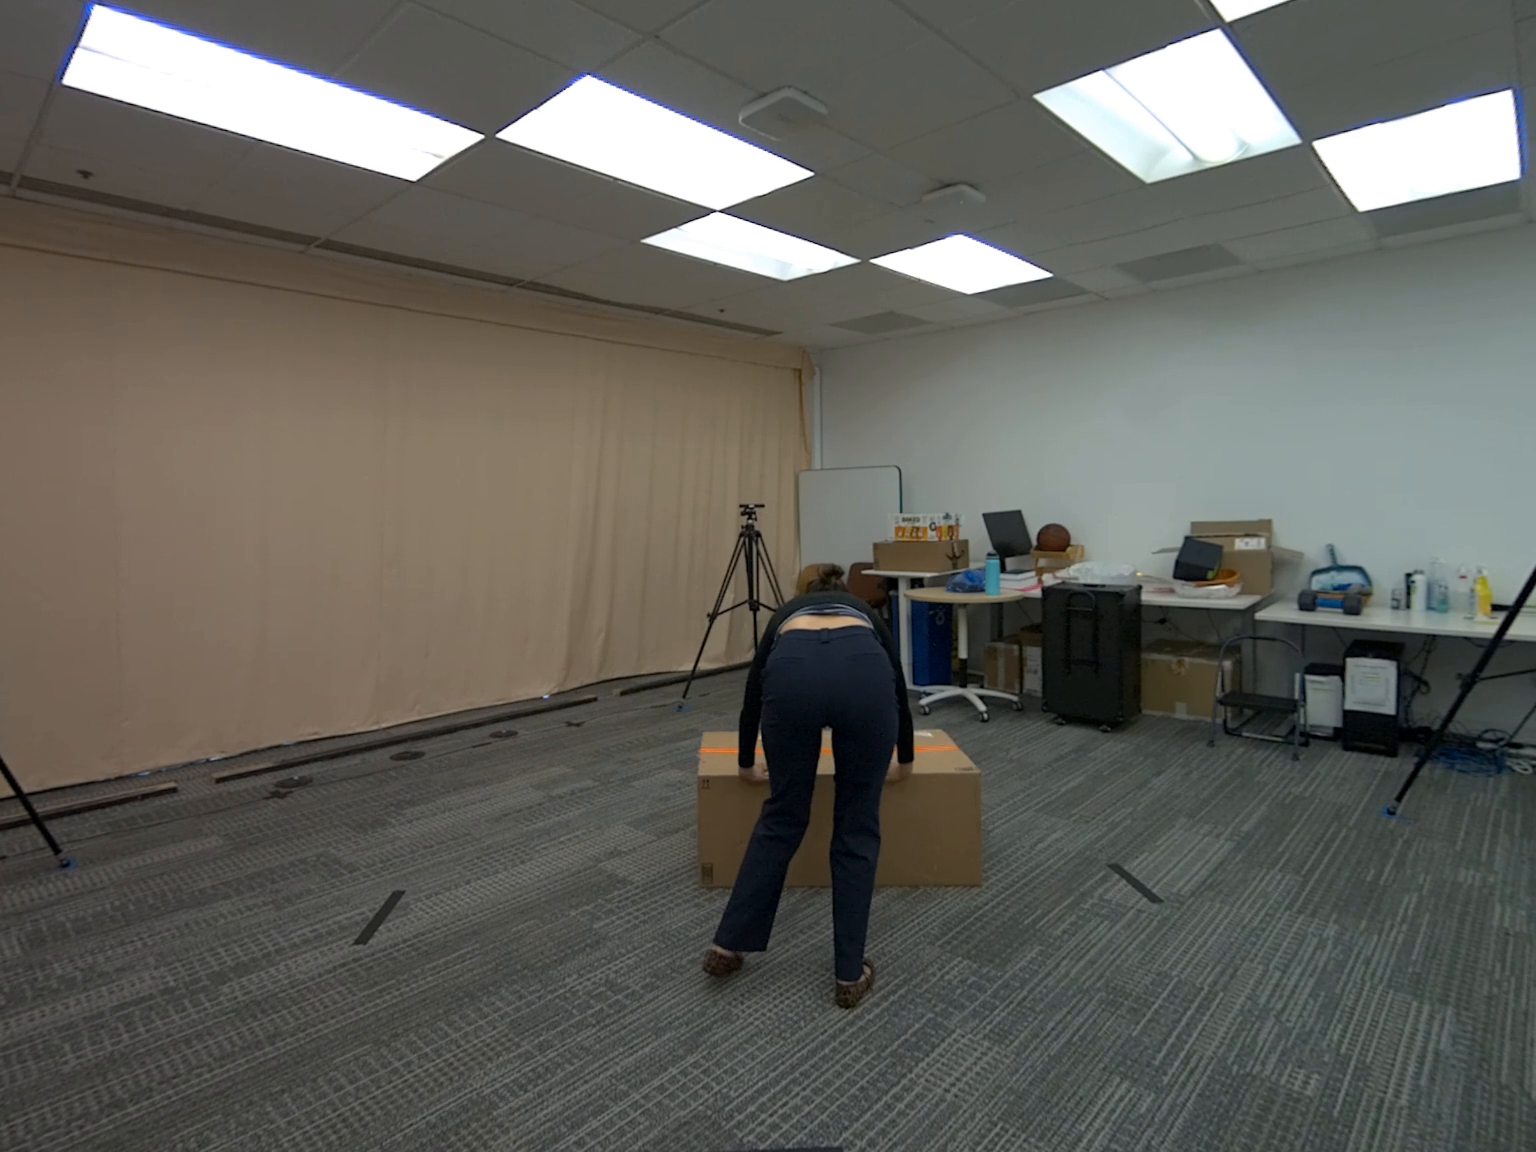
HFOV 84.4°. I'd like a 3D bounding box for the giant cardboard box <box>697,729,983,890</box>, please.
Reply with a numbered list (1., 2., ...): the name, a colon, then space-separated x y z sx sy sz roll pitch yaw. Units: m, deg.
1. giant cardboard box: 0.247 0.892 3.326 1.026 0.425 0.579 -1 5 0
